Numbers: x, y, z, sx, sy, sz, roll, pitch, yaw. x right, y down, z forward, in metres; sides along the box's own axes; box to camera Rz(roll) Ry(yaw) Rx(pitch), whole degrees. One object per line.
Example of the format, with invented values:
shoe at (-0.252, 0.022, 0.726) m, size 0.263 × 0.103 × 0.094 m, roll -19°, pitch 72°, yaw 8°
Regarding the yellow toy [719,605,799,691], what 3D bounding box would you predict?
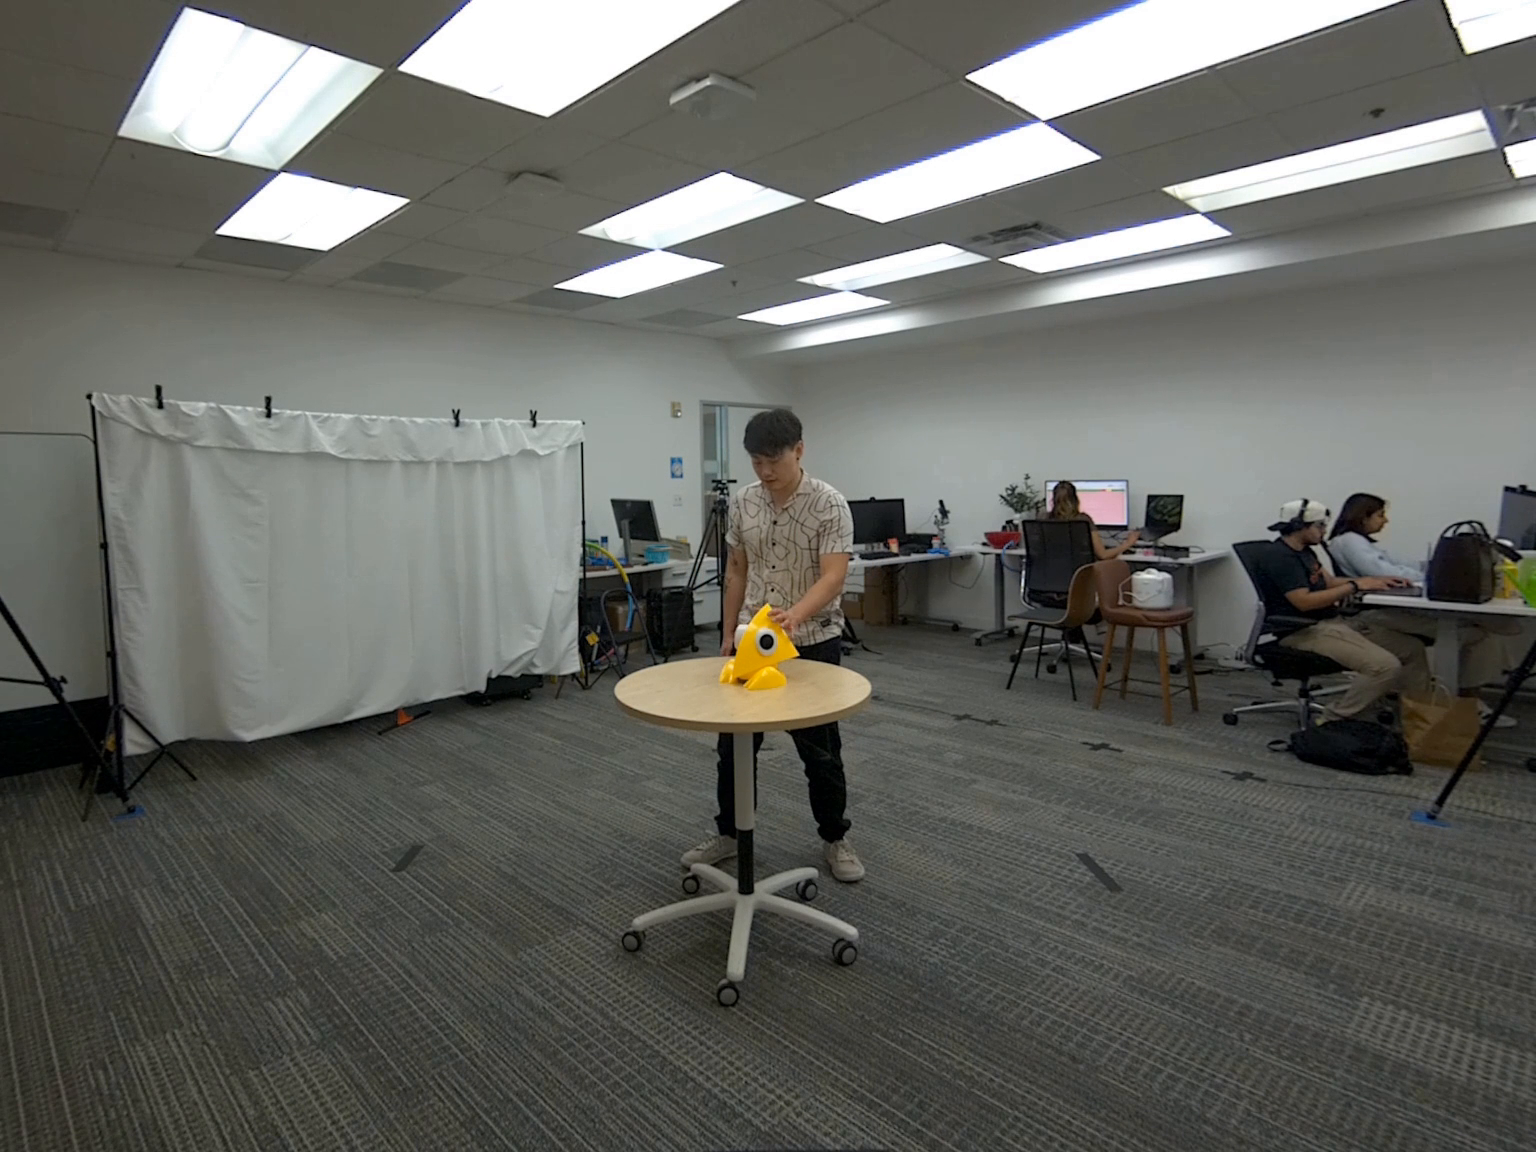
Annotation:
yellow toy at (-0.045, 0.211, 2.602) m, size 0.188 × 0.229 × 0.211 m, roll -7°, pitch 8°, yaw -43°
